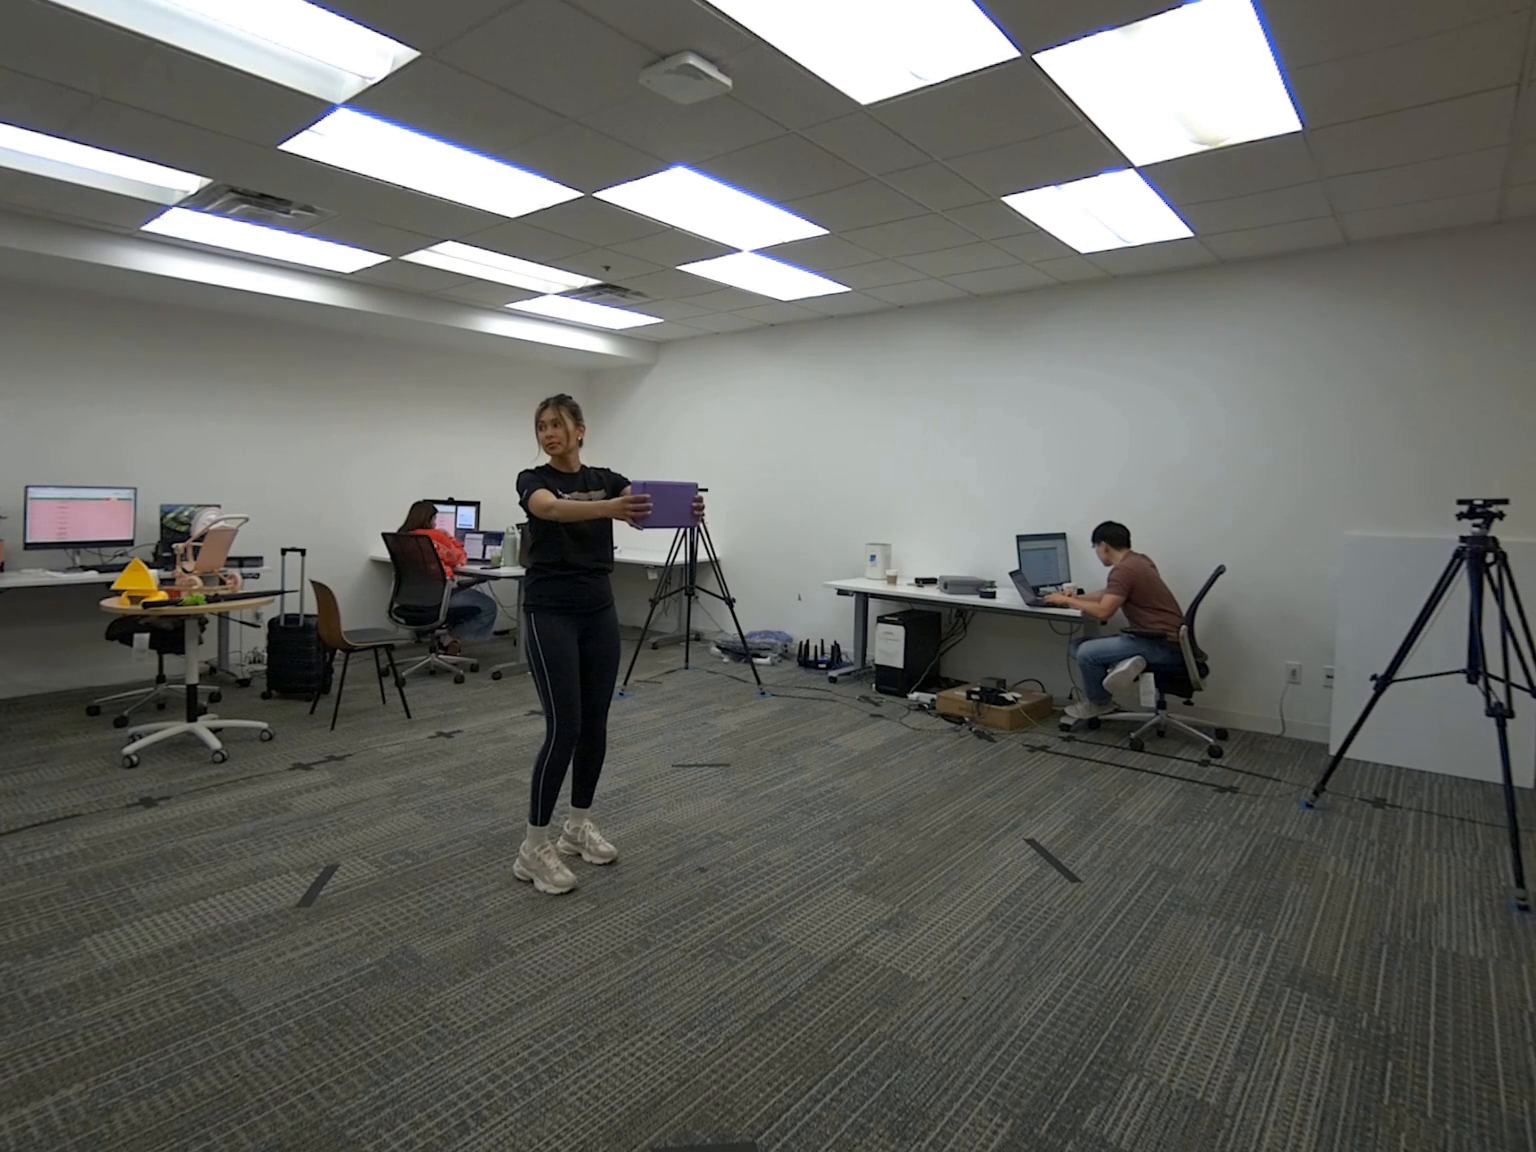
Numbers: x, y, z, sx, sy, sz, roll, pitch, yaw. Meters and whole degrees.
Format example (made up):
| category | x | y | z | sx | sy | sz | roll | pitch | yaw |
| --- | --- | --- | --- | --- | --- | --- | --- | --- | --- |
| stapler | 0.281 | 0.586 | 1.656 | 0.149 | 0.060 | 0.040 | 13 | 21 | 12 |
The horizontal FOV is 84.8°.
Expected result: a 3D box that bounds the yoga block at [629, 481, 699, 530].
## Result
| category | x | y | z | sx | sy | sz | roll | pitch | yaw |
| --- | --- | --- | --- | --- | --- | --- | --- | --- | --- |
| yoga block | -0.346 | -0.228 | 2.691 | 0.079 | 0.148 | 0.222 | 11 | 9 | 43 |
